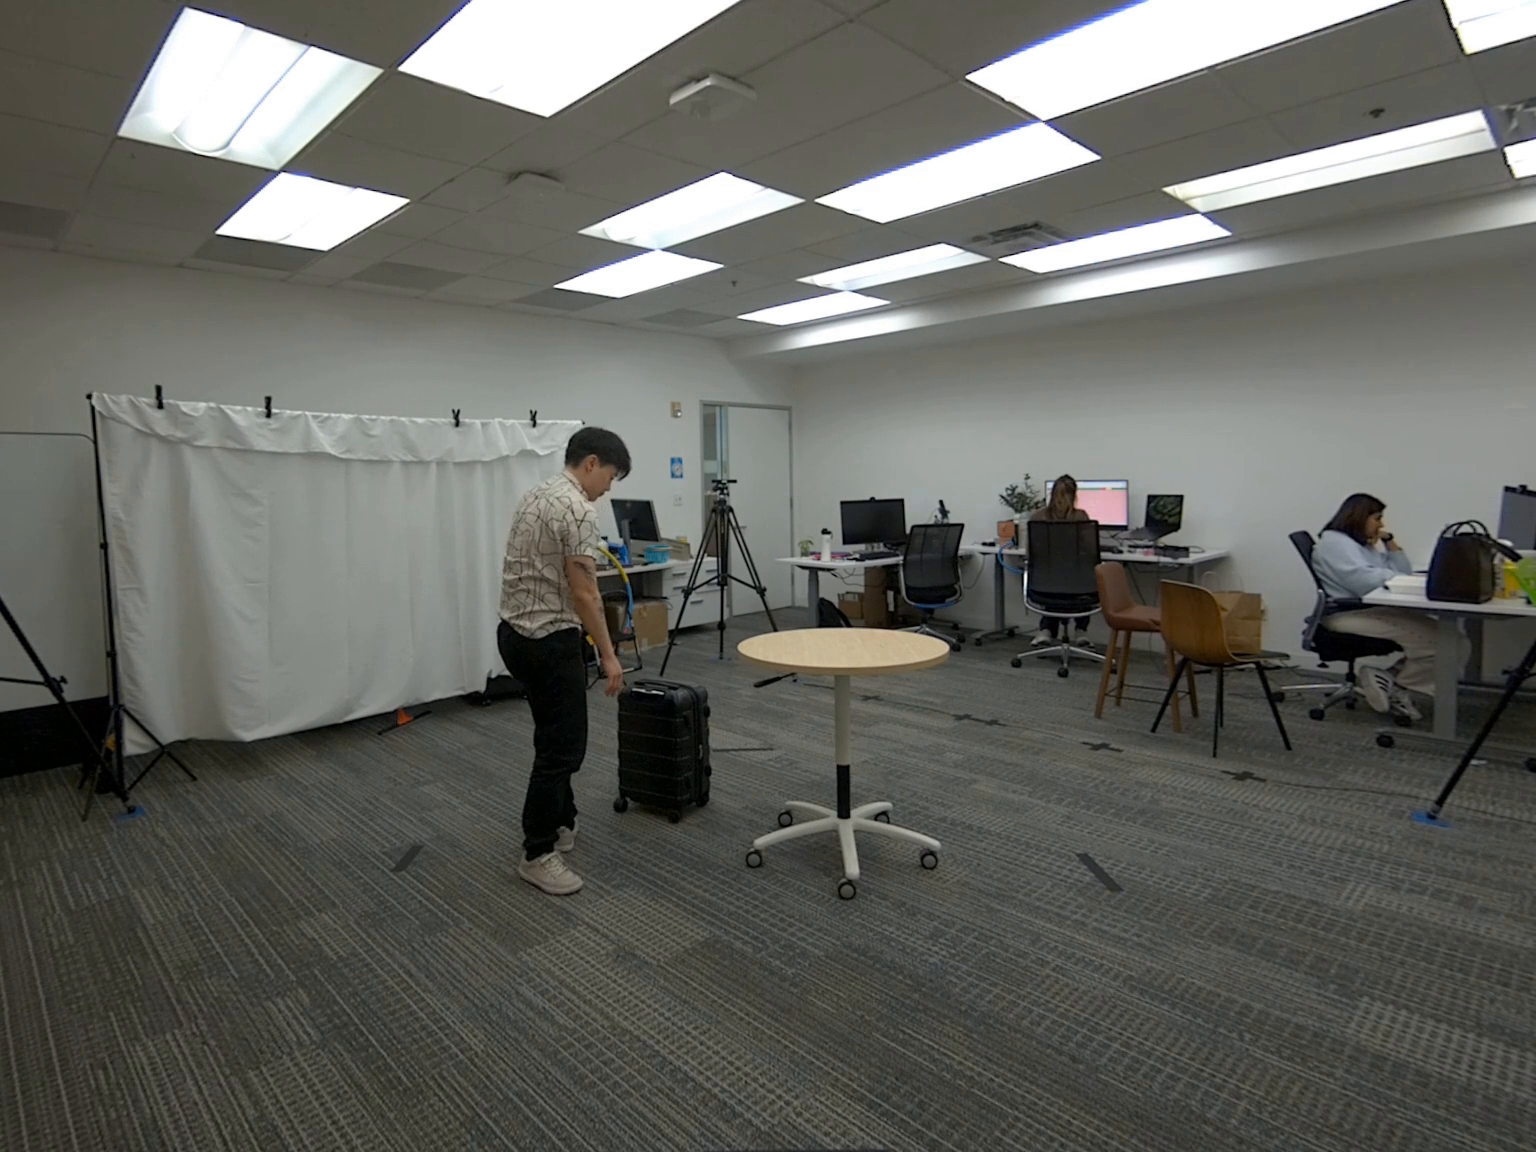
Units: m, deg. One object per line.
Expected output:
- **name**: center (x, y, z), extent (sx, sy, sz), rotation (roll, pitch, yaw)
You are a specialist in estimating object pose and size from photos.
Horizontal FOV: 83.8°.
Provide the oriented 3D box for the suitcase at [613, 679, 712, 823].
- **suitcase**: center (-0.450, 0.720, 3.659), extent (0.385, 0.548, 0.242), rotation (2, 3, 30)
